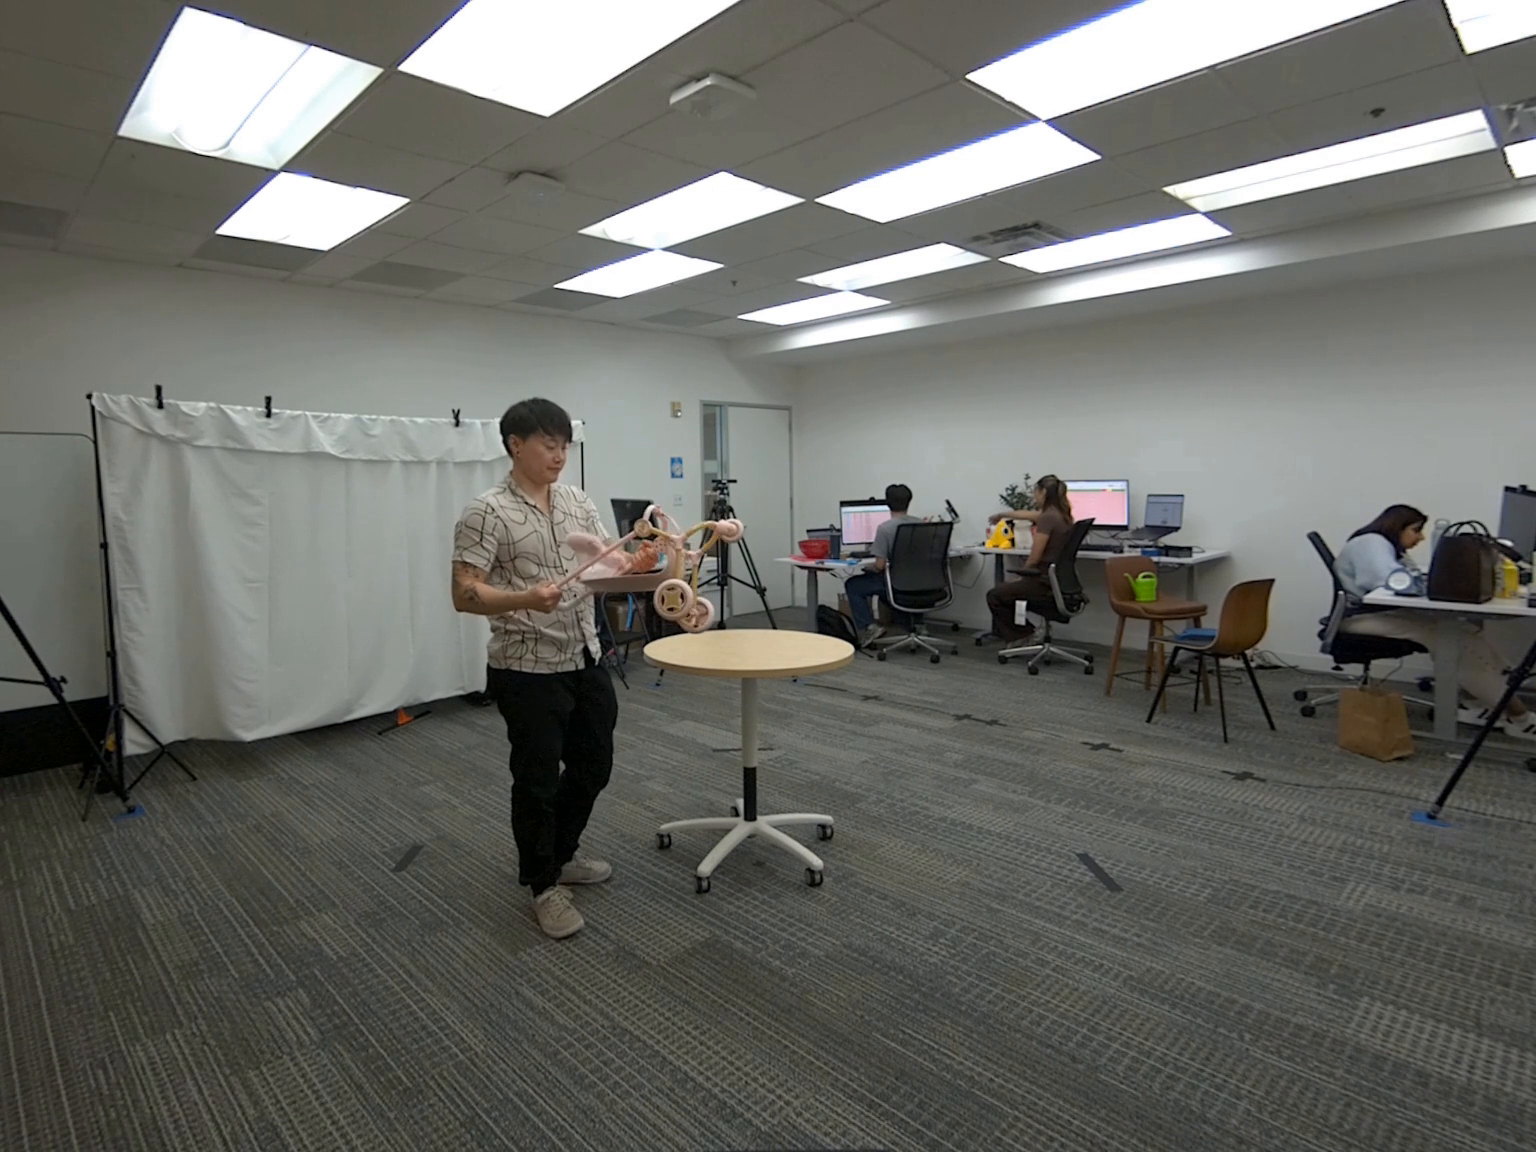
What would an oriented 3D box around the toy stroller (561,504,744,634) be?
[{"bbox_3d":[-0.347,-0.038,2.445,0.544,0.343,0.275,9,-8,15],"label":"toy stroller"}]
